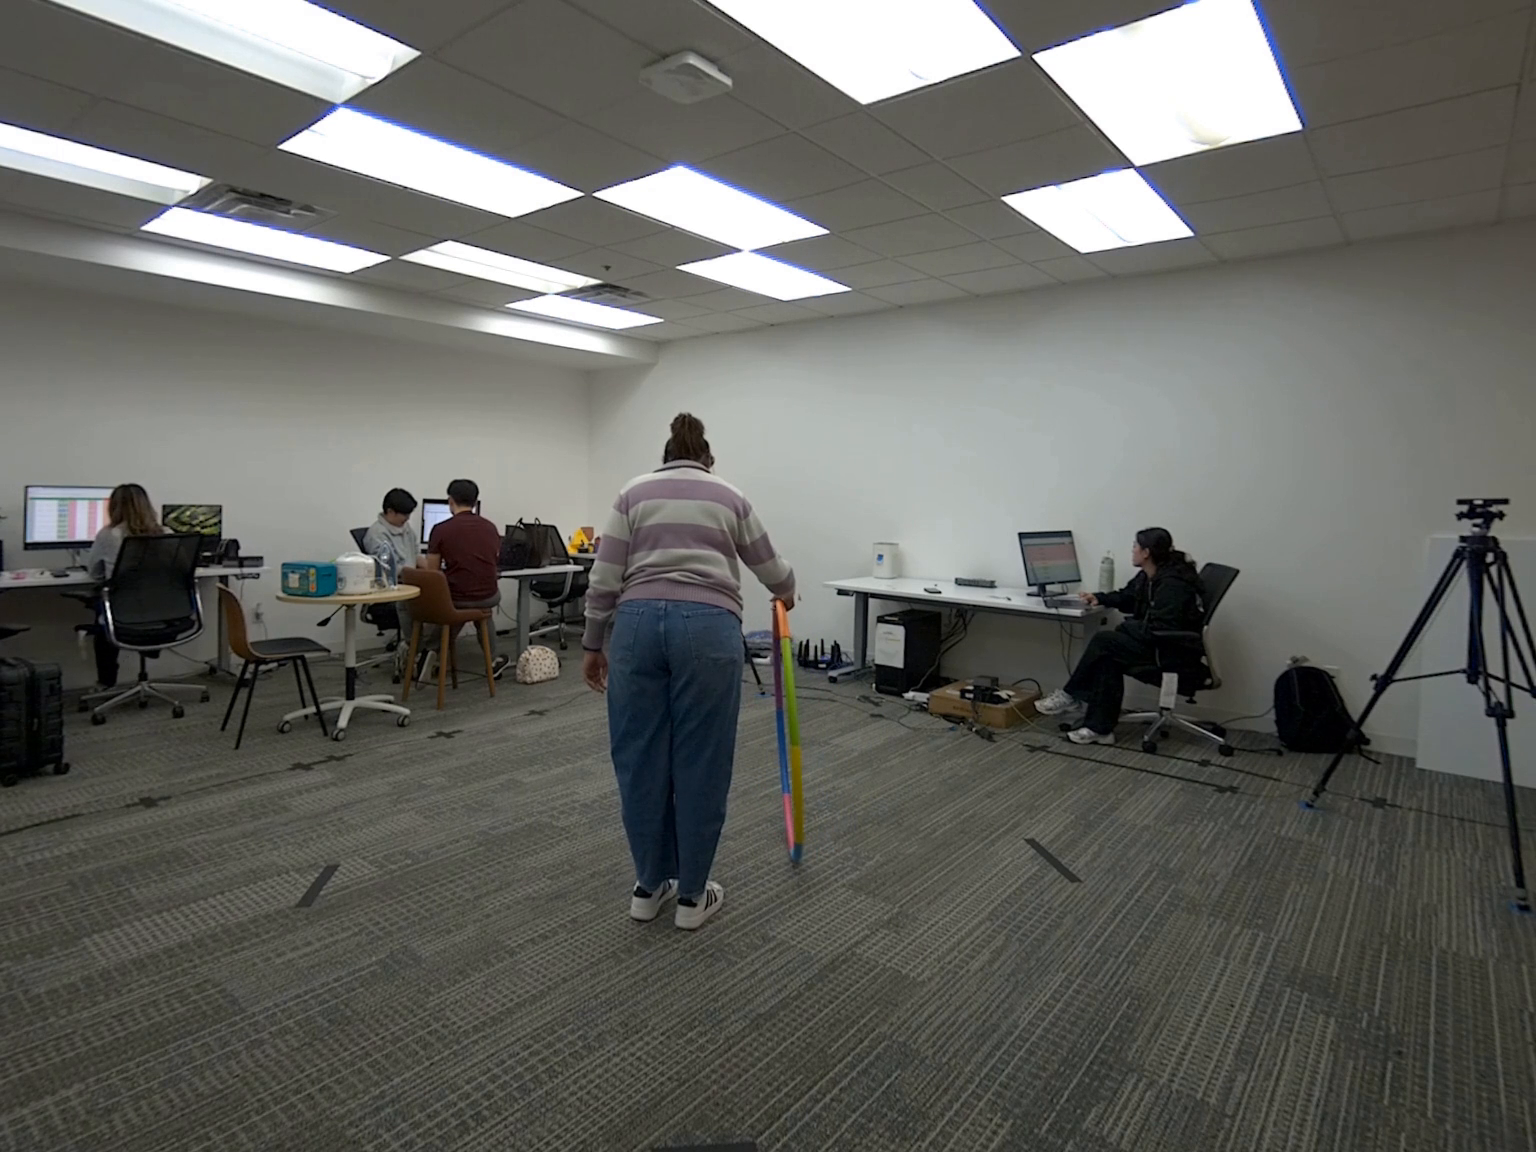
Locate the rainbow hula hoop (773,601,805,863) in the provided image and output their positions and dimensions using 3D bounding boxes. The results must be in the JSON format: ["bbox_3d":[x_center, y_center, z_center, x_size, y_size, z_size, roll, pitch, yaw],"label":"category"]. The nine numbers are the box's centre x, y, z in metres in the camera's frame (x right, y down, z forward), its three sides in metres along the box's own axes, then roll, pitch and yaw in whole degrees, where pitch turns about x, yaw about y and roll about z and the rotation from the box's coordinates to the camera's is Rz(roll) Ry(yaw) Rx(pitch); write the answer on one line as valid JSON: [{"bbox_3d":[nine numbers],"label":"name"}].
[{"bbox_3d":[0.064,0.566,3.272,0.035,0.975,0.982,-4,4,-2],"label":"rainbow hula hoop"}]
